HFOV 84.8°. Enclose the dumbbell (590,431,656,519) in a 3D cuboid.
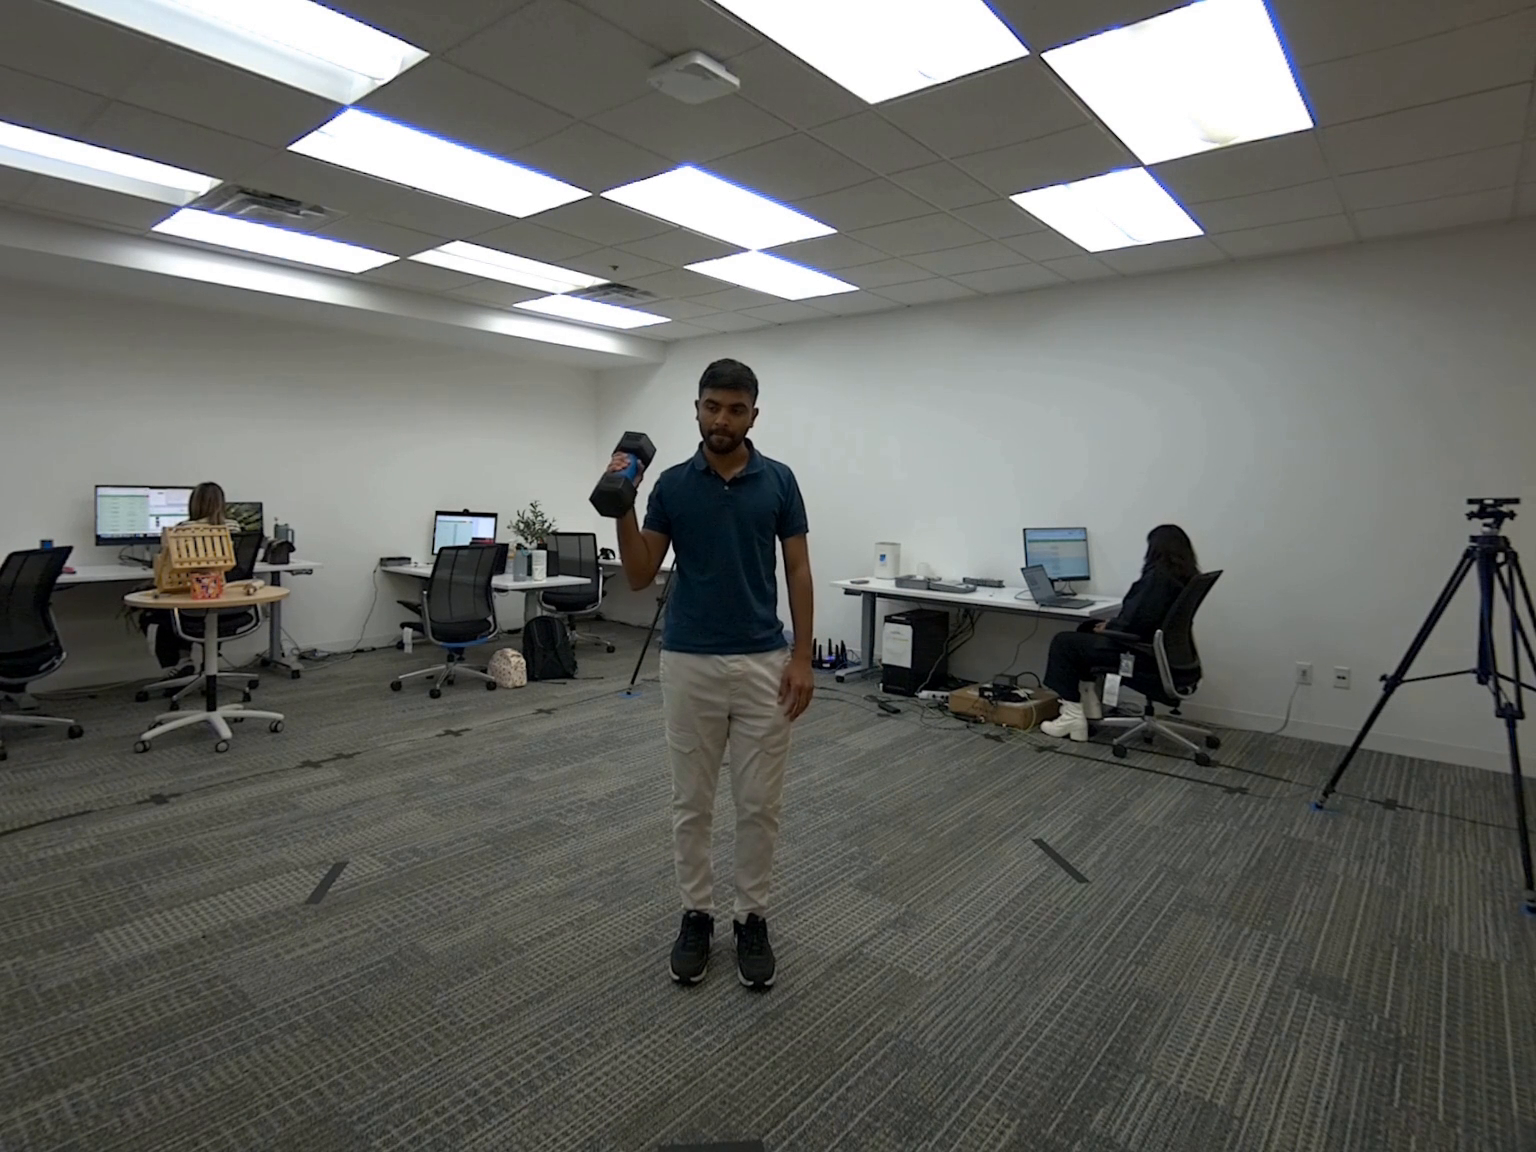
[{"bbox_3d":[-0.411,-0.297,2.393,0.124,0.105,0.300,5,41,5],"label":"dumbbell"}]
